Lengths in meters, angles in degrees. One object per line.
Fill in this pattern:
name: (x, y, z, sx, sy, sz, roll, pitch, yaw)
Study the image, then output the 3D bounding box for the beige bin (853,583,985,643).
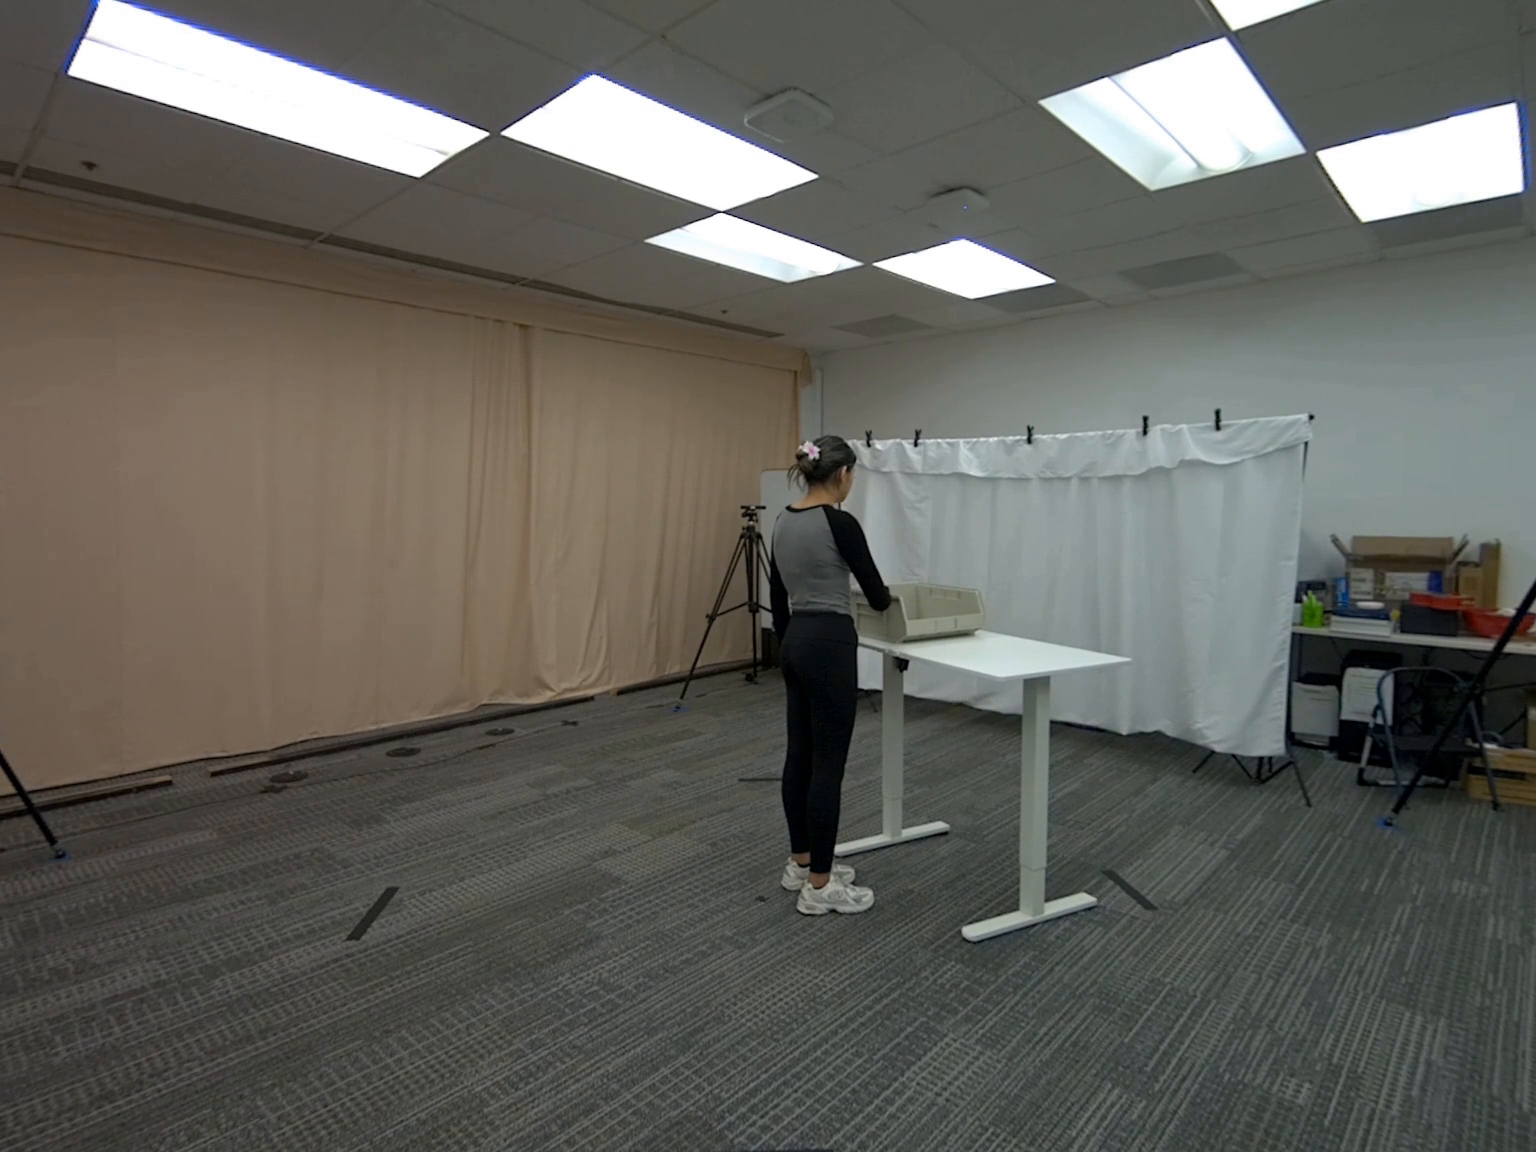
beige bin: (0.571, 0.144, 3.307, 0.411, 0.188, 0.389, -4, 5, -32)
